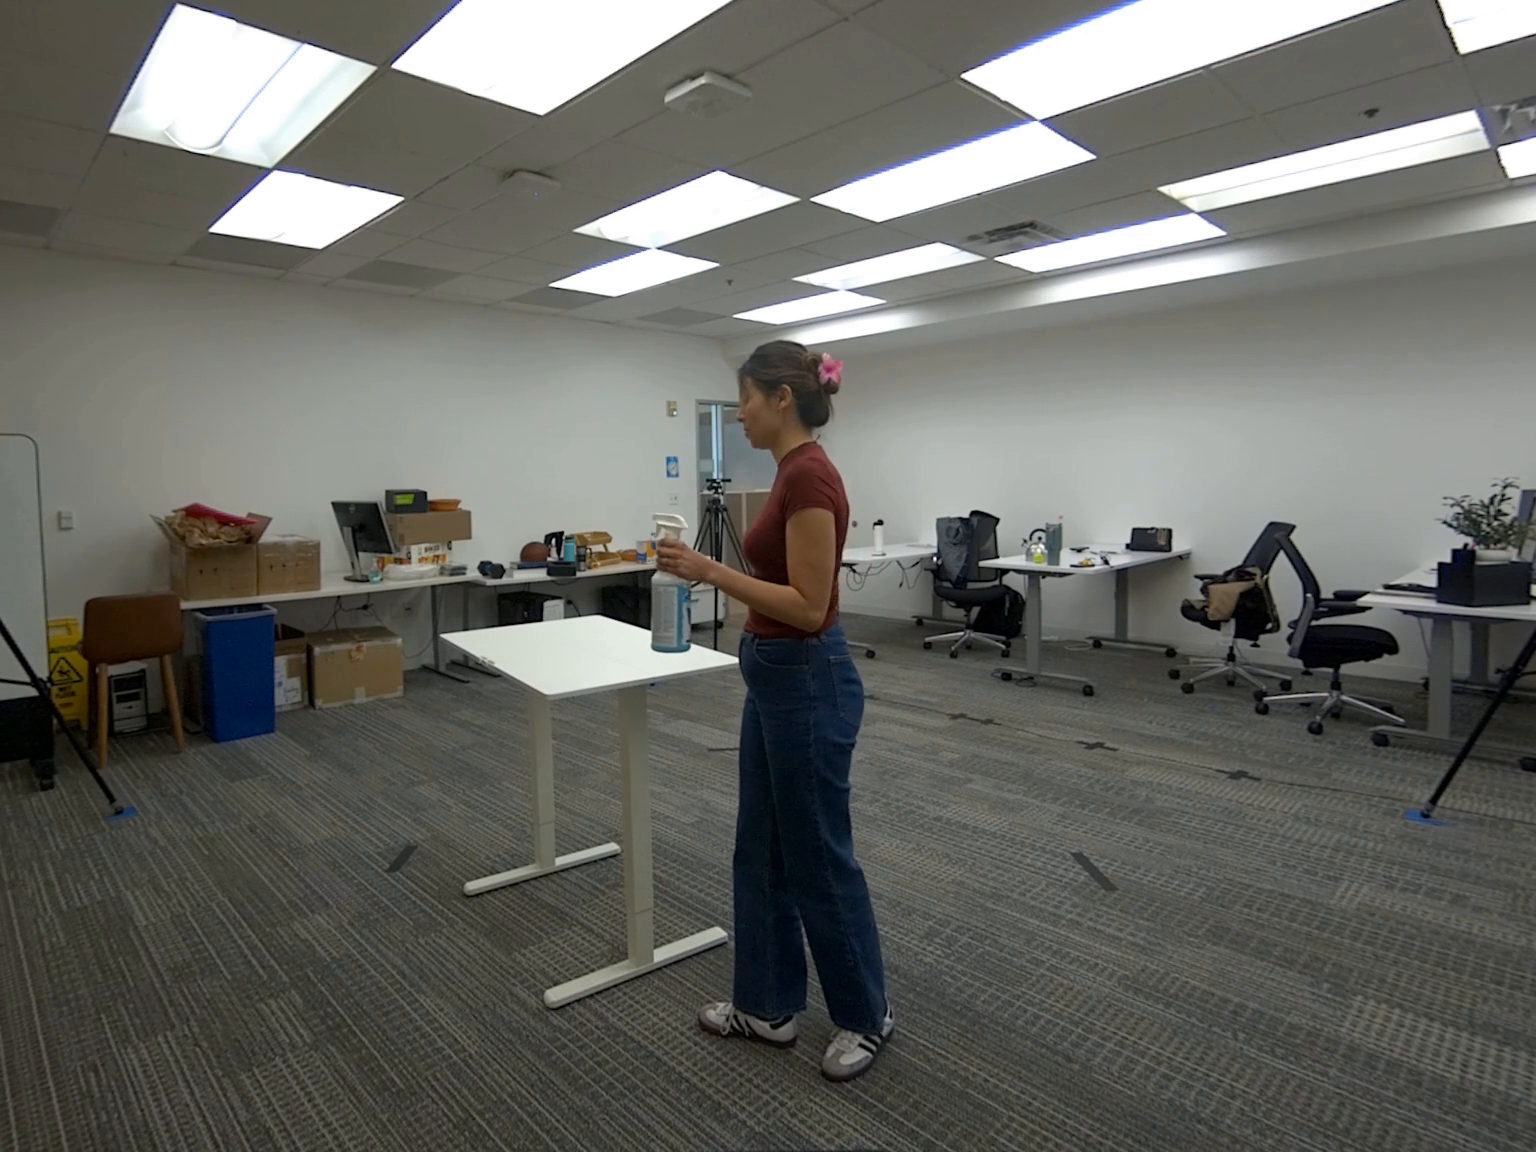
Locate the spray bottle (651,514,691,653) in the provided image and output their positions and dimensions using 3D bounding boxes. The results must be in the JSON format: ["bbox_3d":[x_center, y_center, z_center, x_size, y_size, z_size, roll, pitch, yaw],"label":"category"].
[{"bbox_3d":[-0.194,0.014,1.831,0.085,0.297,0.092,0,0,-35],"label":"spray bottle"}]
